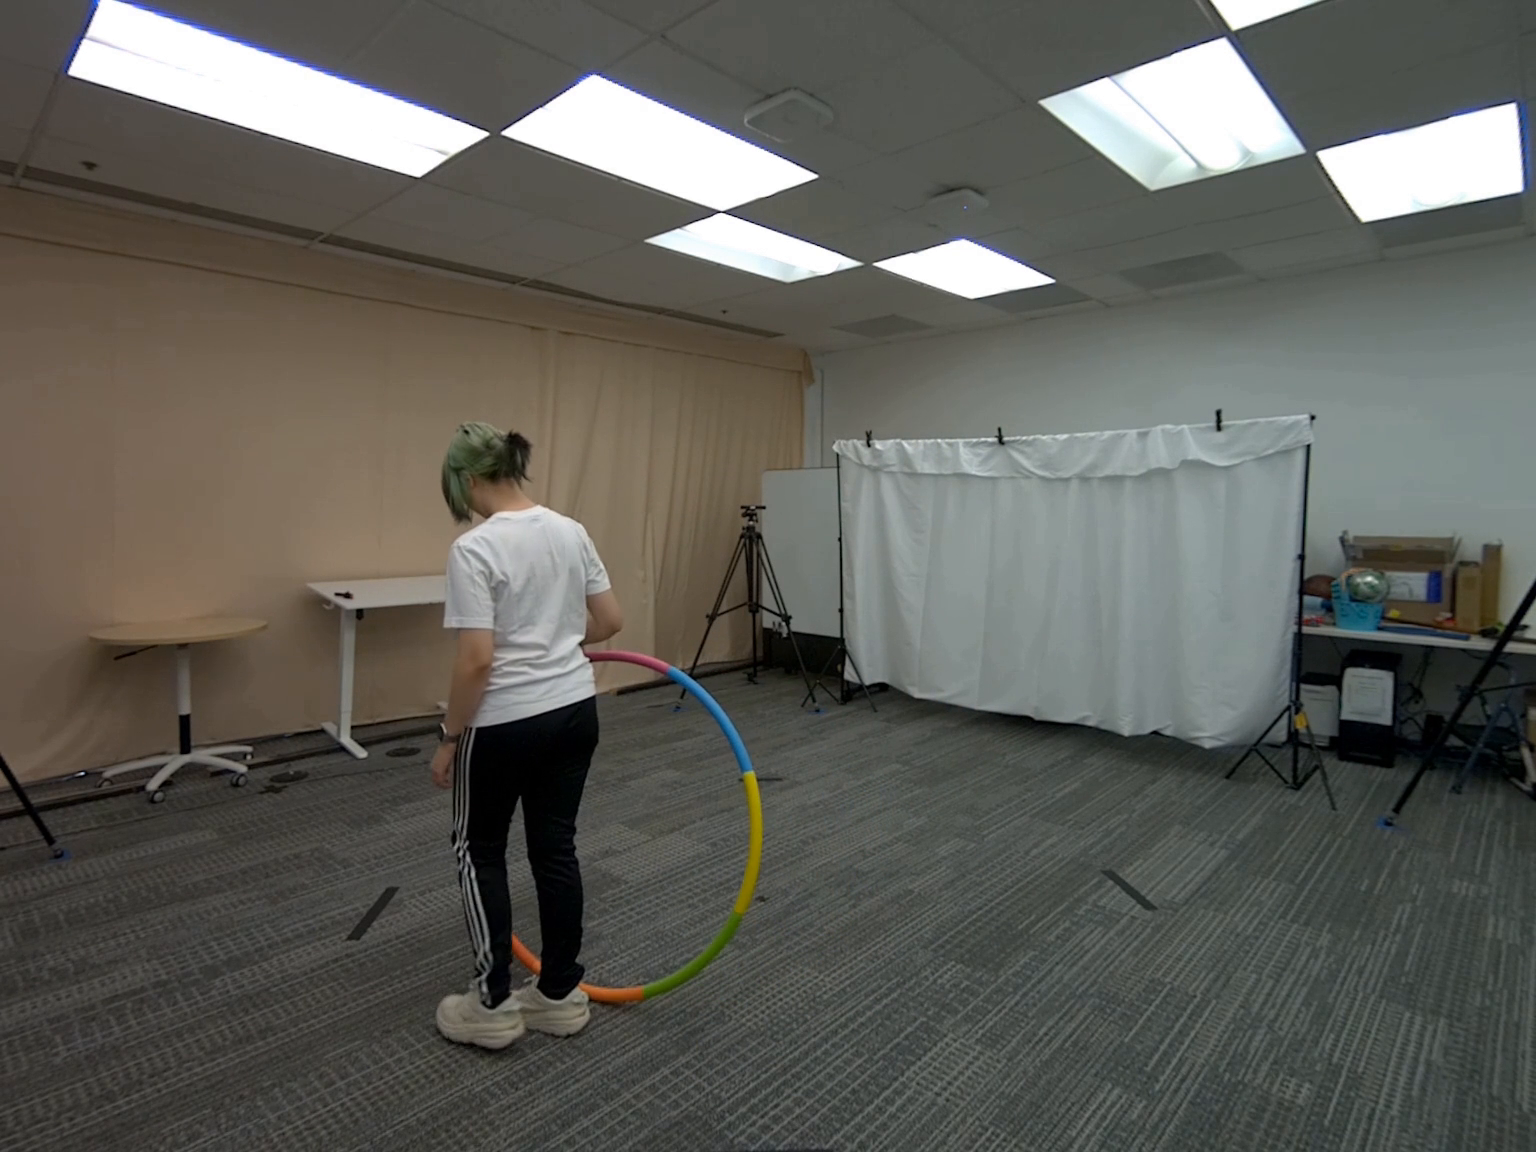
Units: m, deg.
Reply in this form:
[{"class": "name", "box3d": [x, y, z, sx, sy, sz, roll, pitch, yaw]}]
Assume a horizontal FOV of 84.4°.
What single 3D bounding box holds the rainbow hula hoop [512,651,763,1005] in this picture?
[{"class": "rainbow hula hoop", "box3d": [-0.481, 0.706, 2.454, 1.001, 0.983, 0.034, 1, -8, 22]}]
